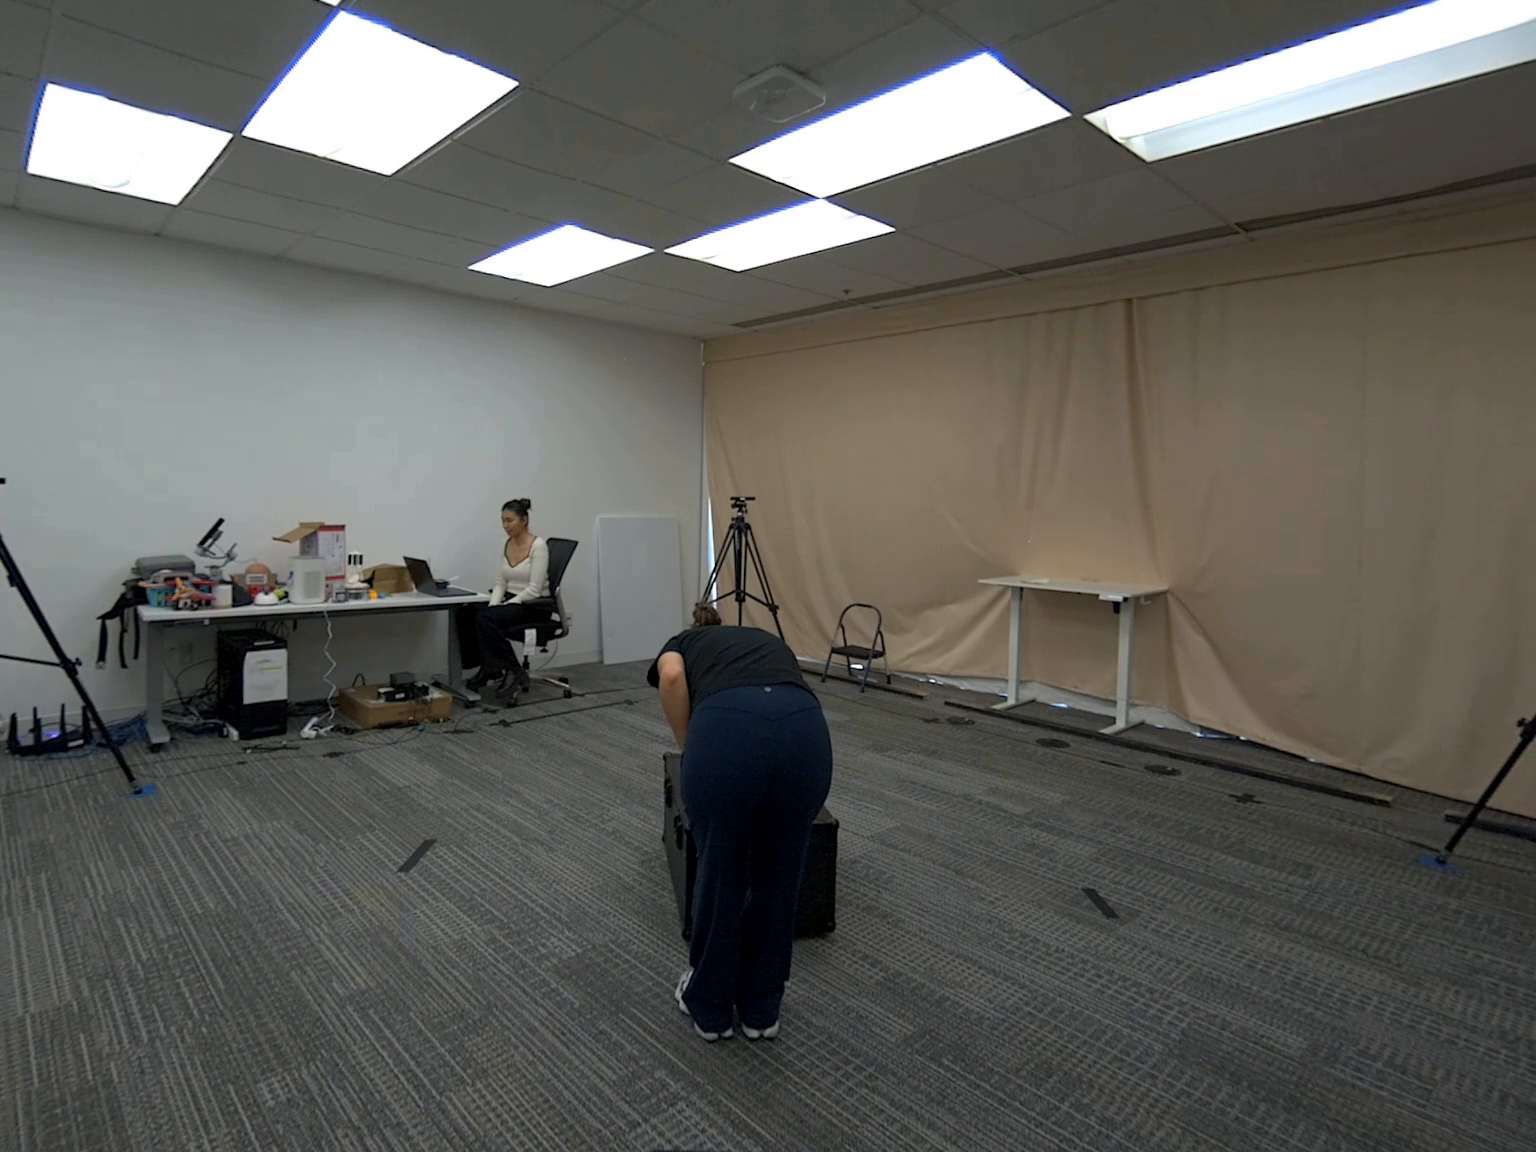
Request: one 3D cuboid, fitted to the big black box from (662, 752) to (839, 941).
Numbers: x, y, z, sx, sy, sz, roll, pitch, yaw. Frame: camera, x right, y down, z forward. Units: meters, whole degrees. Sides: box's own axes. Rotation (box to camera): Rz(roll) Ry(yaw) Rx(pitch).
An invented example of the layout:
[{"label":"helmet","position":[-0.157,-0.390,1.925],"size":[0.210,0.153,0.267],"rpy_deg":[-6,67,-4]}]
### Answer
[{"label":"big black box","position":[-0.105,0.923,3.018],"size":[0.516,0.395,0.872],"rpy_deg":[1,5,-12]}]
